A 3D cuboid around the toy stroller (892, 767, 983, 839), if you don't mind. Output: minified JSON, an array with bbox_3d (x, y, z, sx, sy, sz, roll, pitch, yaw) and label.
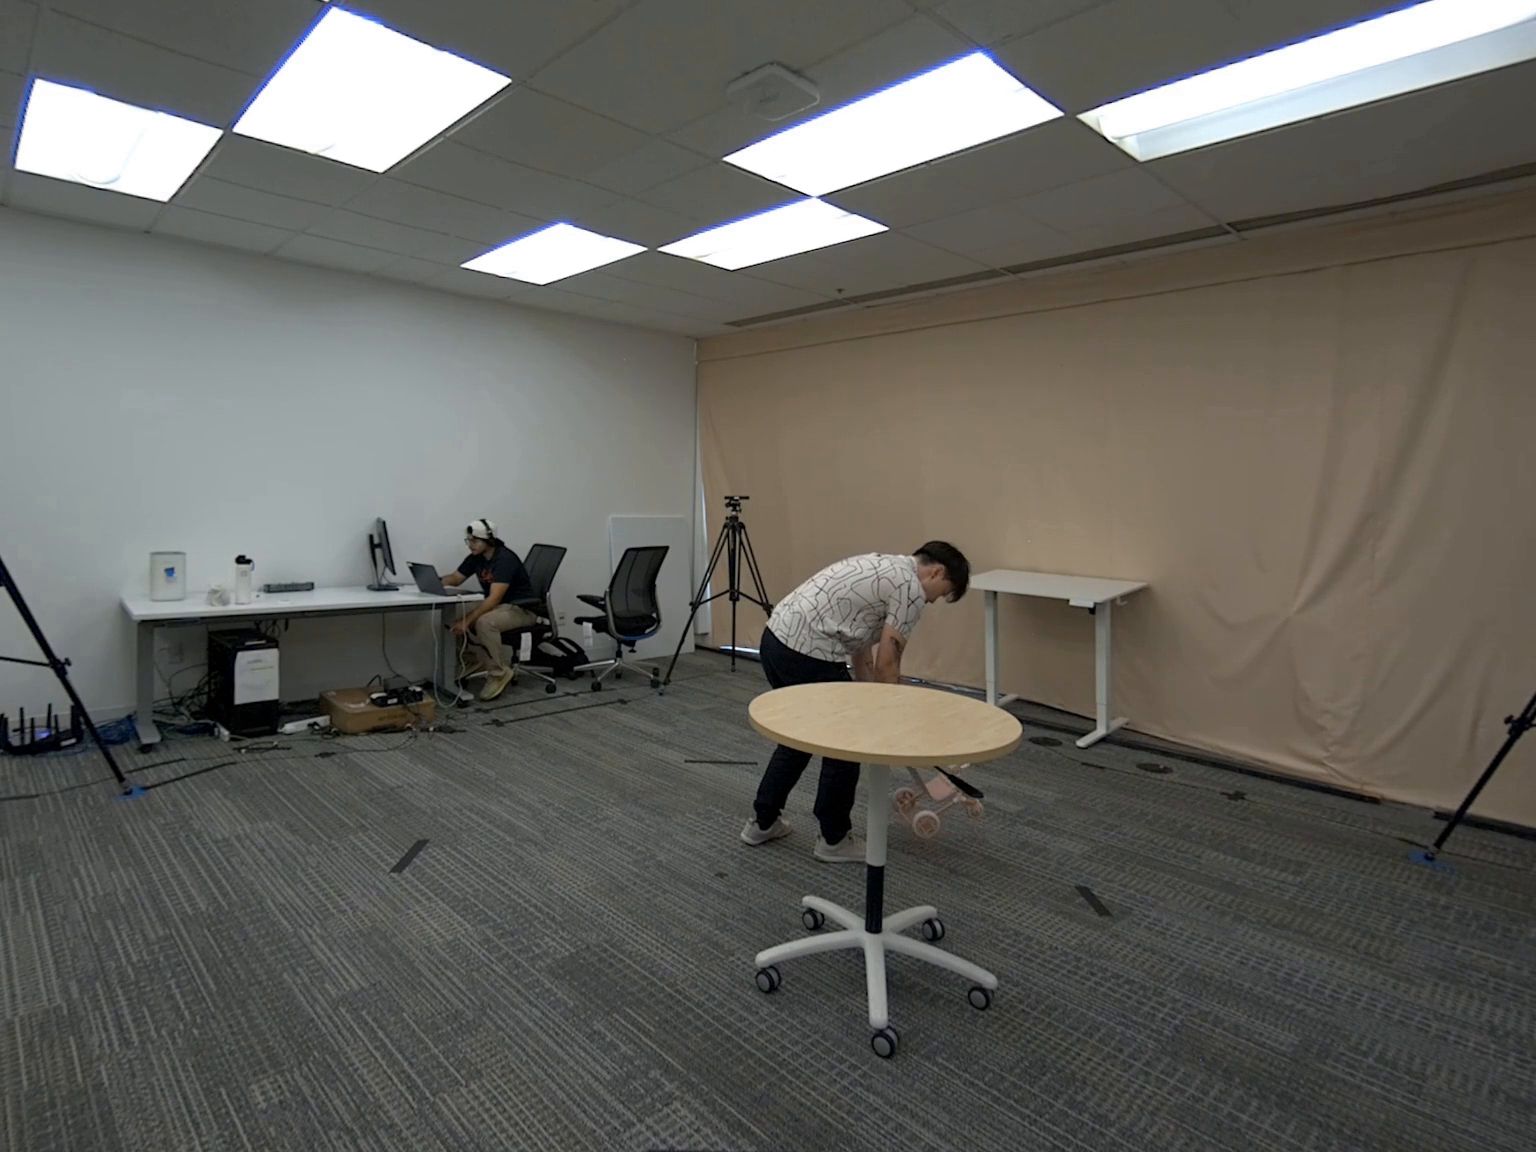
[{"bbox_3d":[0.636,0.766,3.361,0.341,0.532,0.283,-19,6,-2],"label":"toy stroller"}]
